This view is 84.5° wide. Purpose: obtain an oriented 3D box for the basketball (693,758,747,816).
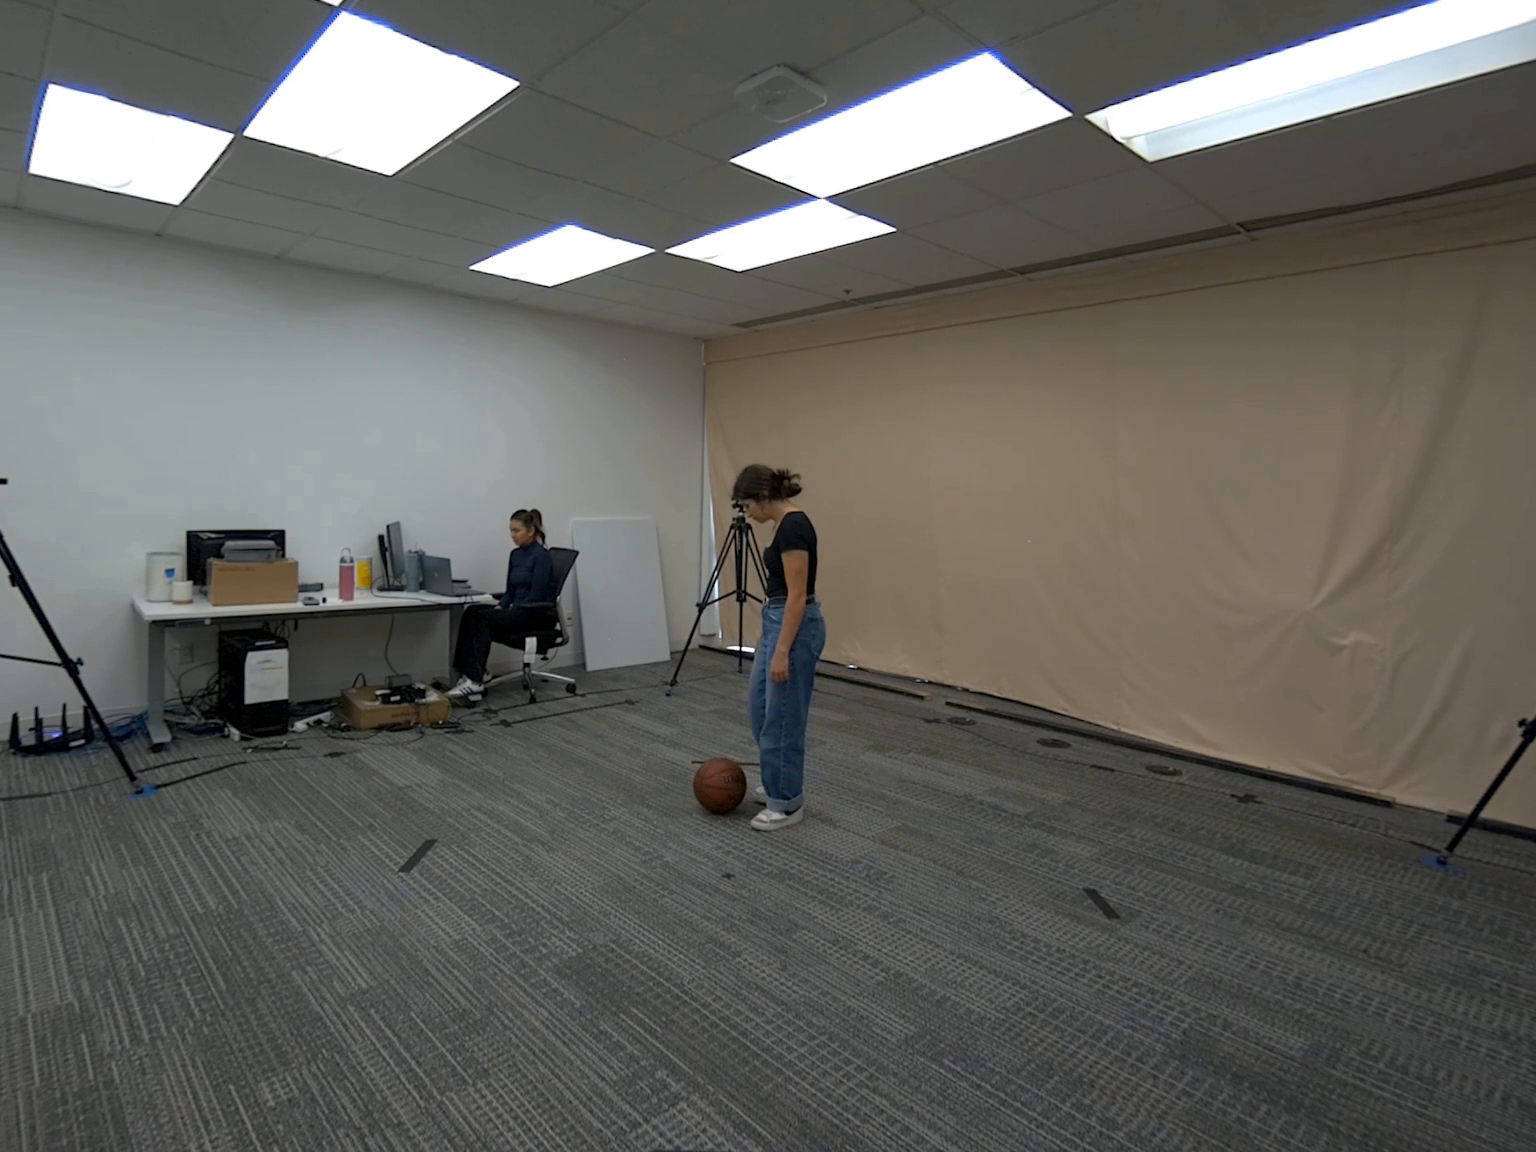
[{"bbox_3d":[-0.219,0.924,3.740,0.236,0.235,0.237,1,4,-1],"label":"basketball"}]
